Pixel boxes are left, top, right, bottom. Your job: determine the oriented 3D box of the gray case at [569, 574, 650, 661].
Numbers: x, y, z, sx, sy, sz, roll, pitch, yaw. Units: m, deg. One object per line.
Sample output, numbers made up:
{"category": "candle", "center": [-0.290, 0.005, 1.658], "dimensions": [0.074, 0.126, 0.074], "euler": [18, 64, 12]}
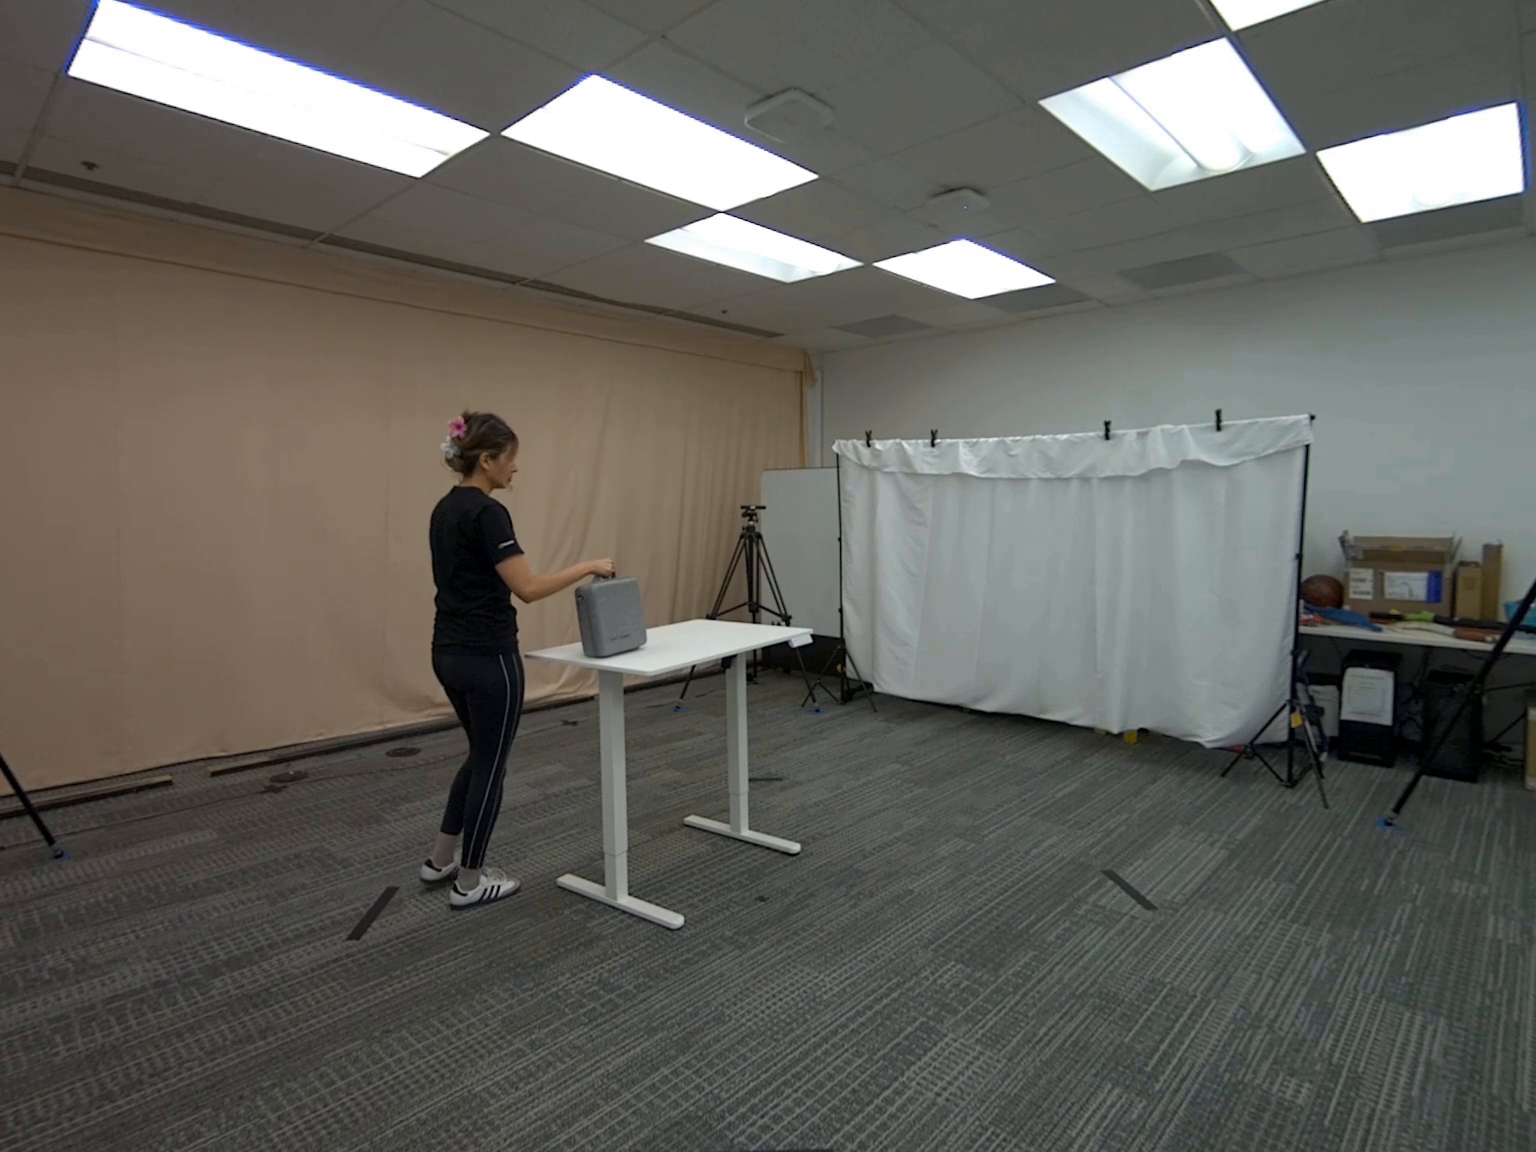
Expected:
{"category": "gray case", "center": [-0.550, 0.139, 2.942], "dimensions": [0.107, 0.260, 0.250], "euler": [-7, 1, 33]}
